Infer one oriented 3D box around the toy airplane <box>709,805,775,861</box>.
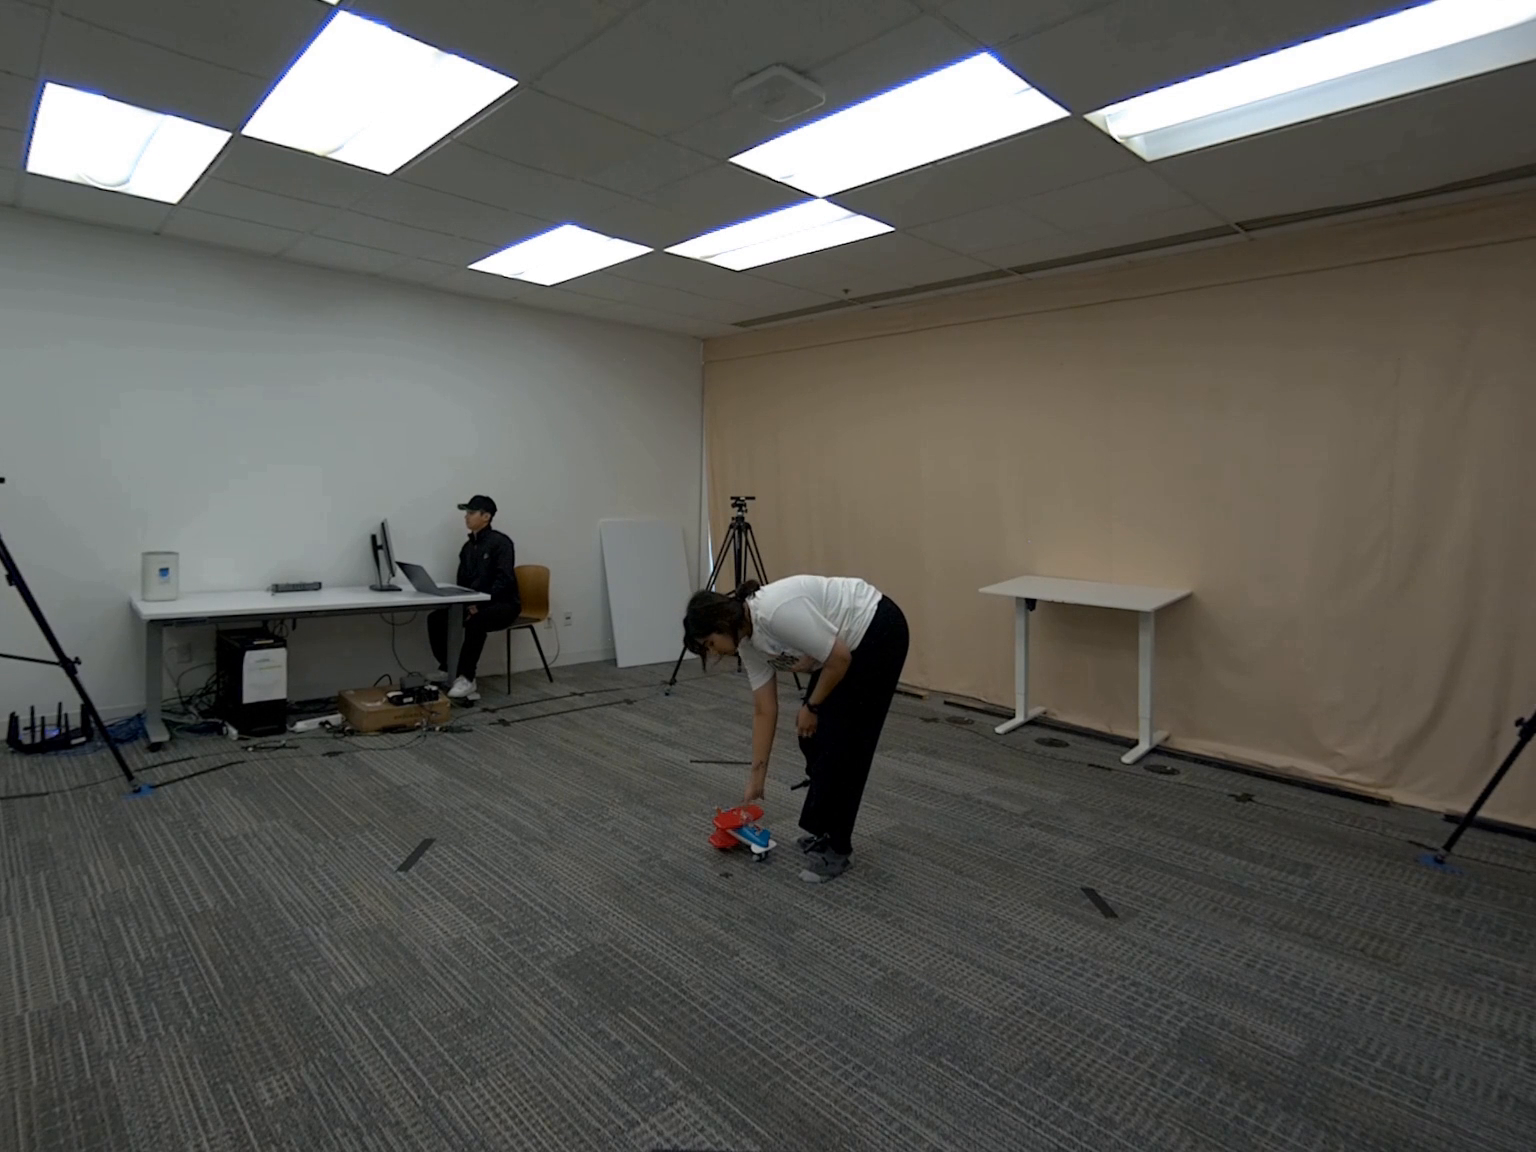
[{"bbox_3d":[-0.093,1.012,3.317,0.262,0.156,0.248,1,3,14],"label":"toy airplane"}]
